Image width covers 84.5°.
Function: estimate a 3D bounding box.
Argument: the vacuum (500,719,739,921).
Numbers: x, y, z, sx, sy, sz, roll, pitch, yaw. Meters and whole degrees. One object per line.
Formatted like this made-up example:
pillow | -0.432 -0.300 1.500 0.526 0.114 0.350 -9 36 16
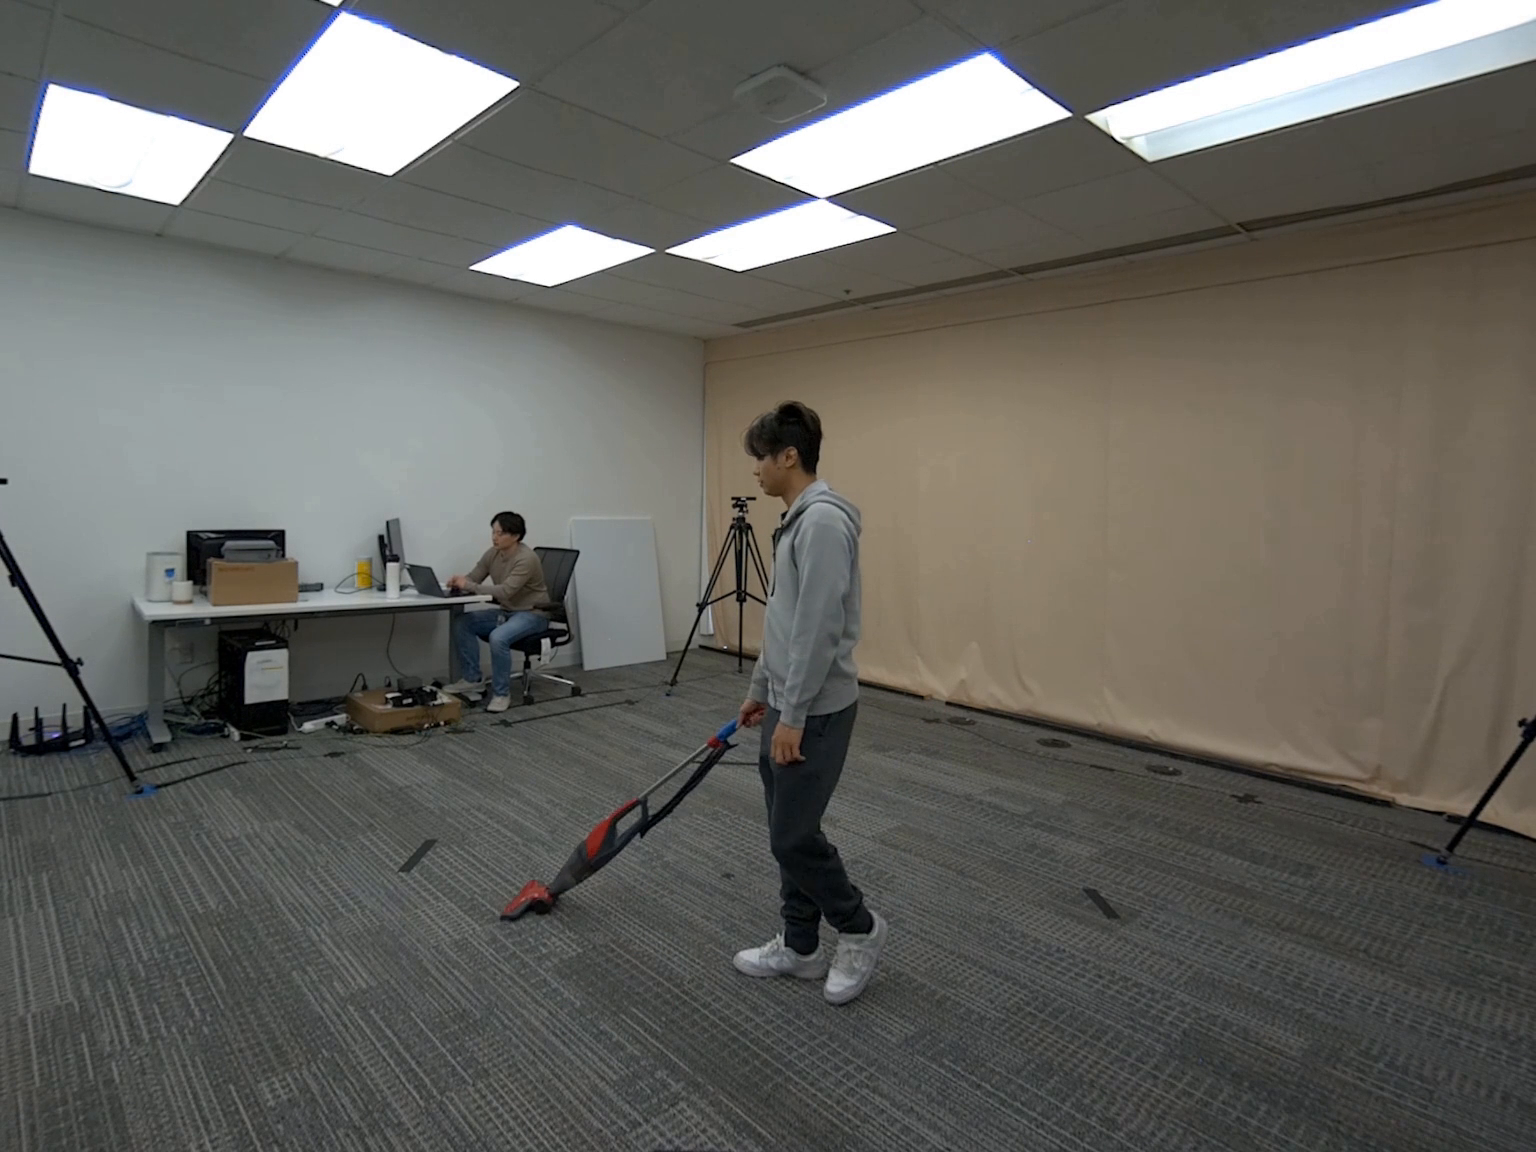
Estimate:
vacuum | -0.393 0.774 2.759 1.051 0.145 0.250 -40 -6 10
